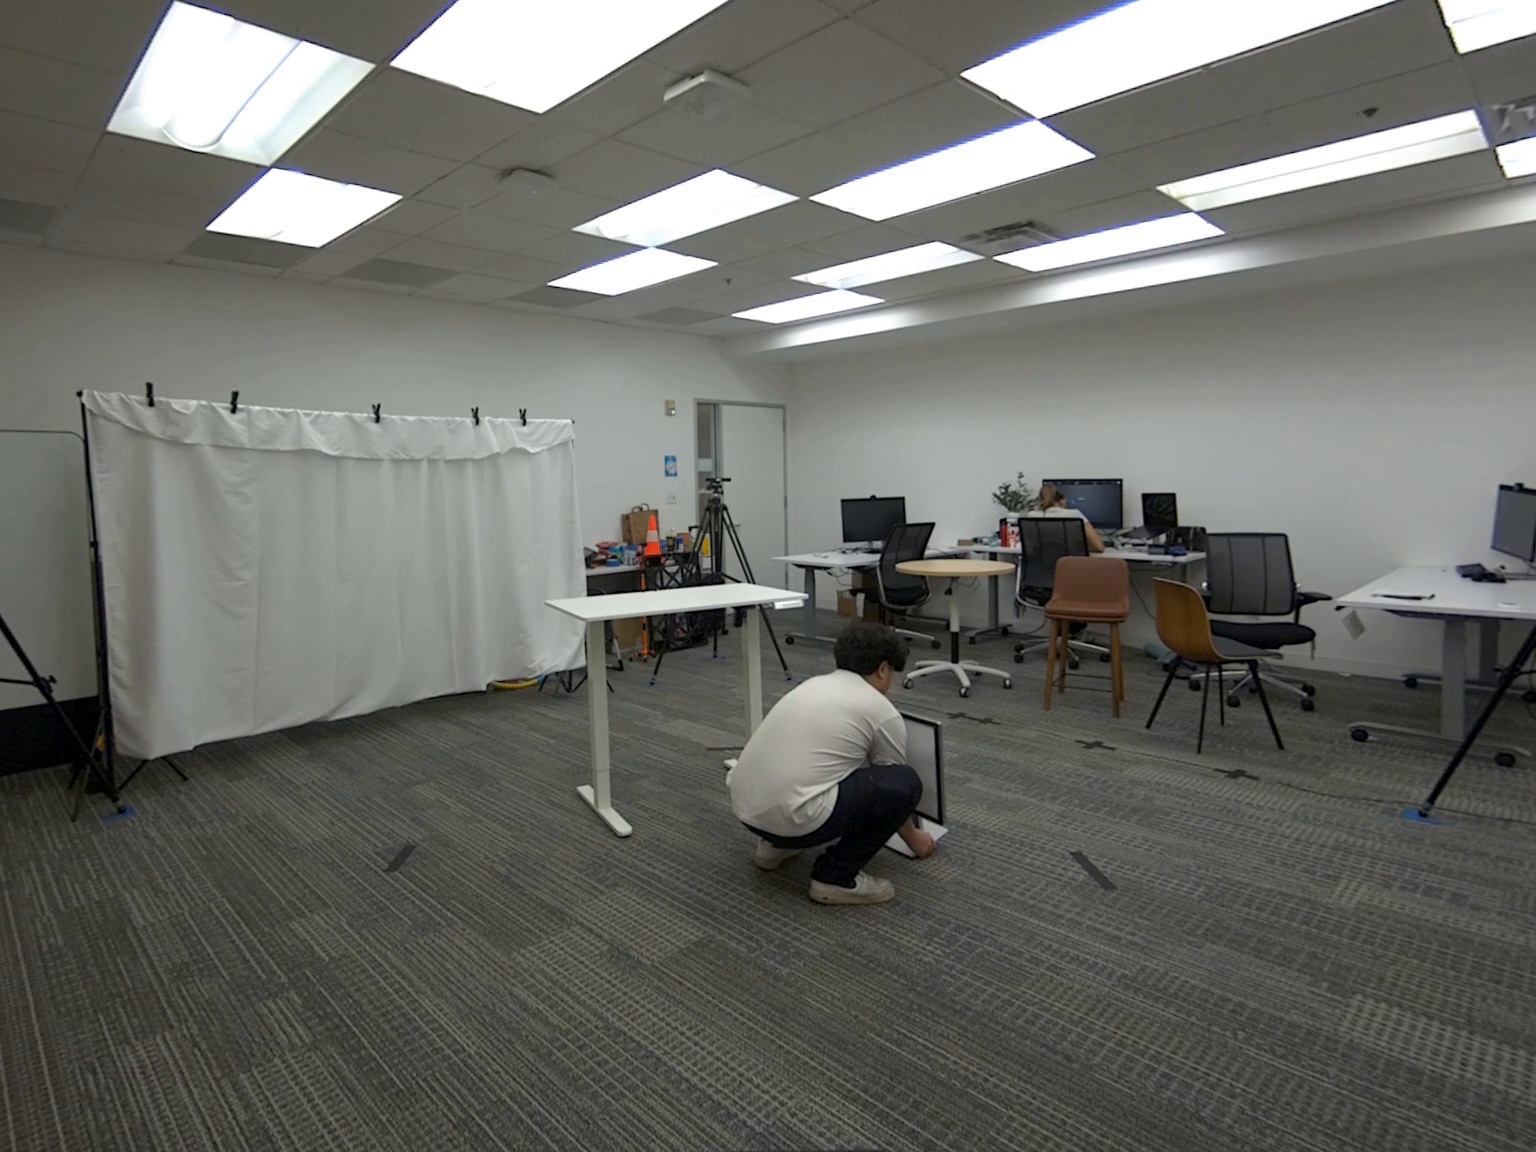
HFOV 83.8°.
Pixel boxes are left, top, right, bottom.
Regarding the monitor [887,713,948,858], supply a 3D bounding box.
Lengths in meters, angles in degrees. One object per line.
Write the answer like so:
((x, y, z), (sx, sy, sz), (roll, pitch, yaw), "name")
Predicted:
((0.498, 0.728, 3.214), (0.206, 0.549, 0.582), (-14, 11, -36), "monitor")
